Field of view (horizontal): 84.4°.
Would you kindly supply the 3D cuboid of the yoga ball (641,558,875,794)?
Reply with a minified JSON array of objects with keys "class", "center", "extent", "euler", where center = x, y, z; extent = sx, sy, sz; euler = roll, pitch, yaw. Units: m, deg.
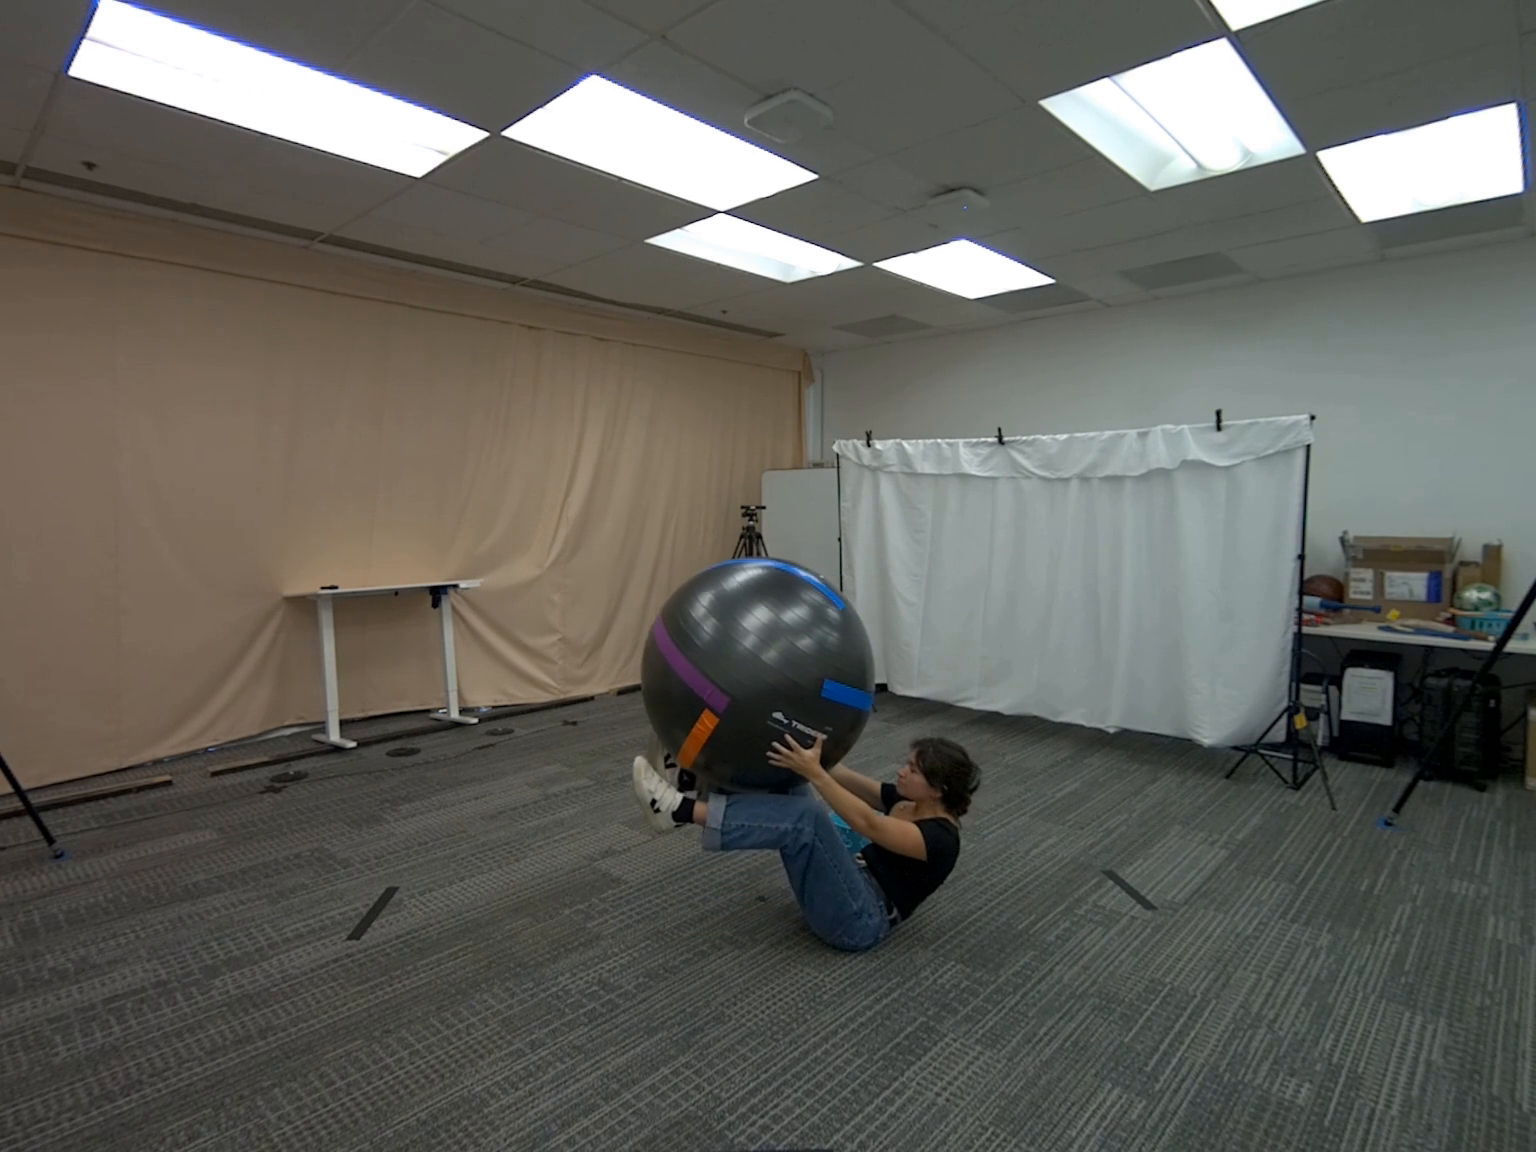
[{"class":"yoga ball","center":[-0.024,0.319,2.731],"extent":[0.757,0.756,0.761],"euler":[0,4,-2]}]
